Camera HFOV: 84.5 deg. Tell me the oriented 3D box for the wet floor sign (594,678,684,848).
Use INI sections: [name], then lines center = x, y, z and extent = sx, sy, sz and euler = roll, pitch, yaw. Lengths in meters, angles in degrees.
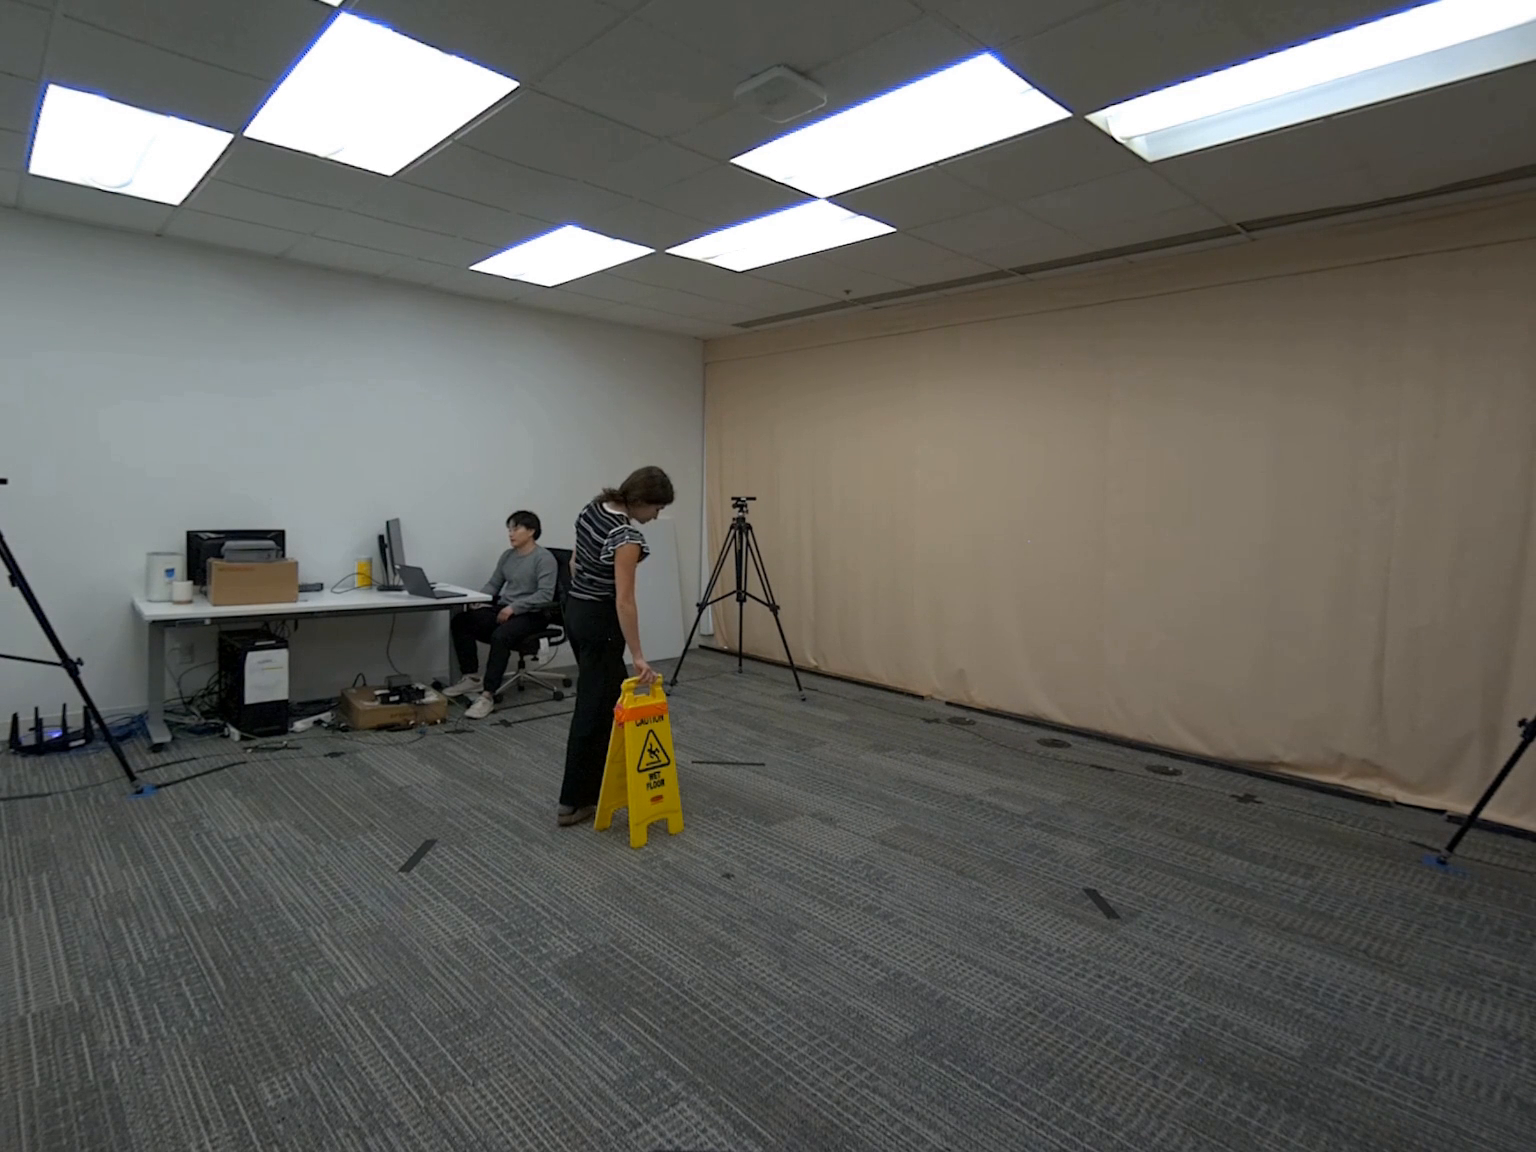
[wet floor sign]
center = -0.540, 0.739, 3.497
extent = 0.297, 0.645, 0.276
euler = 4, 4, 42
